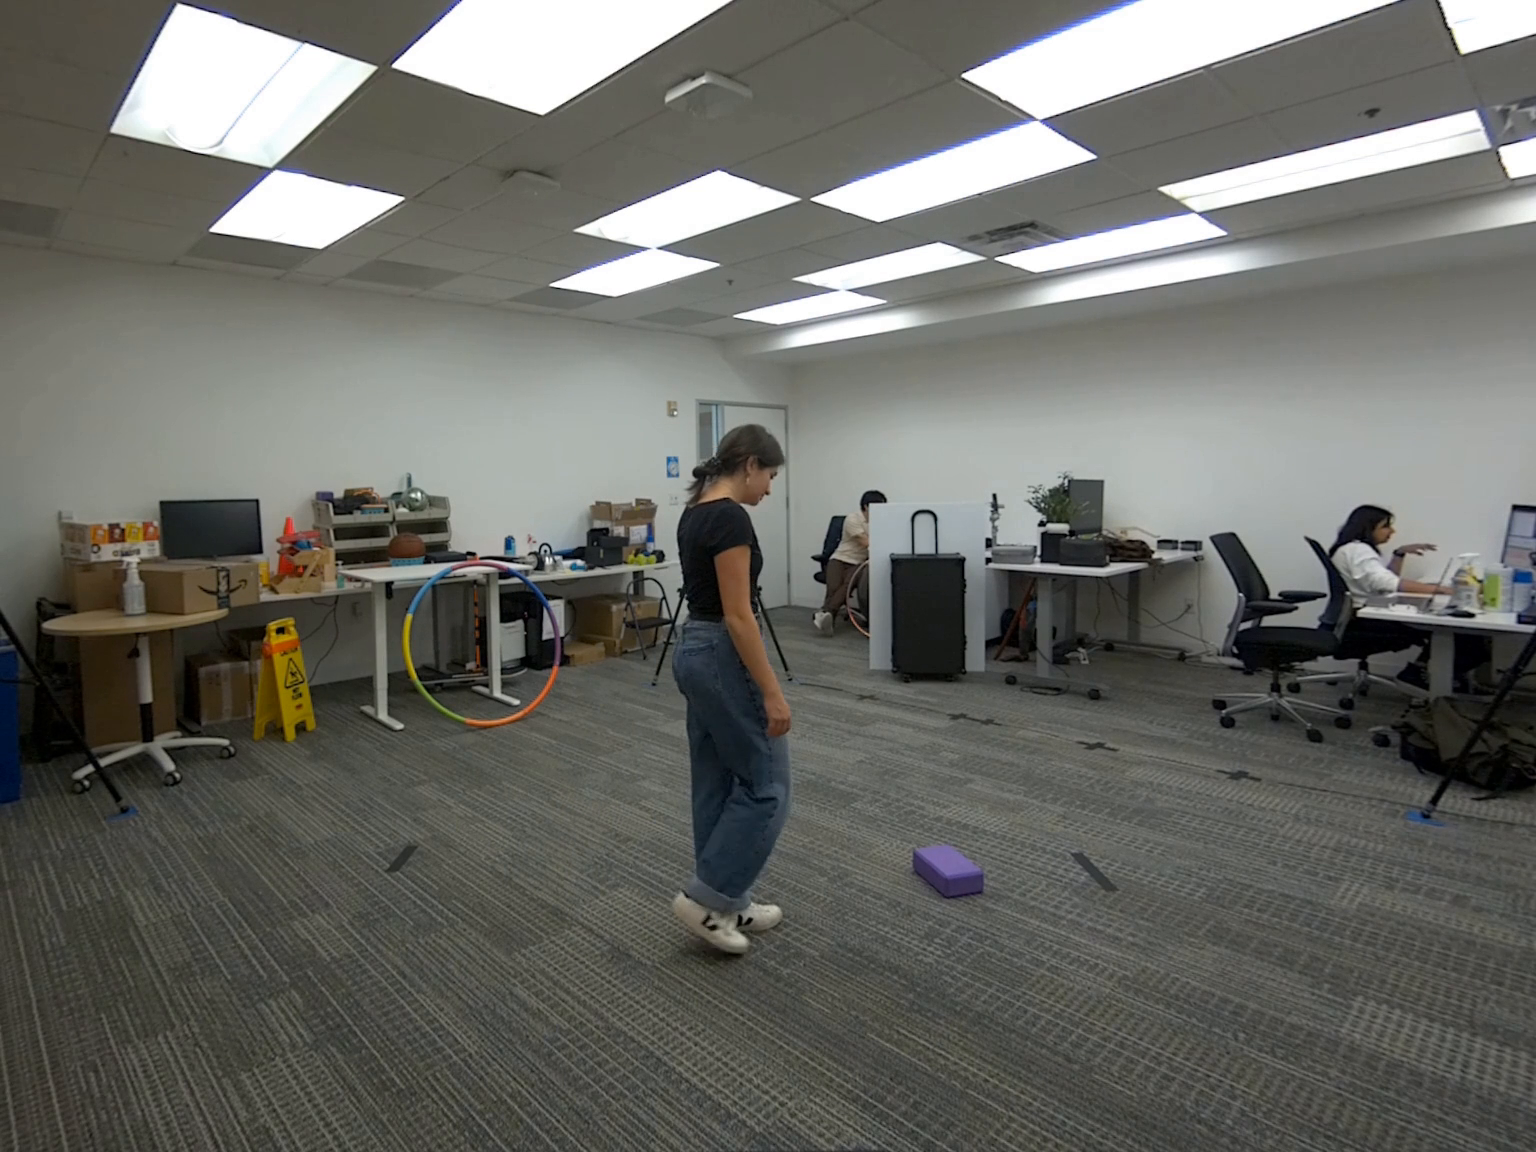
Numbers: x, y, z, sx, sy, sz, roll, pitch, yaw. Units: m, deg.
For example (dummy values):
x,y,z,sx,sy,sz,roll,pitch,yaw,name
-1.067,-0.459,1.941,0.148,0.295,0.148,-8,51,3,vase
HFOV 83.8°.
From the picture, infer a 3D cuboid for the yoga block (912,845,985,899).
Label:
x,y,z,sx,sy,sz,roll,pitch,yaw,name
0.622,1.014,2.947,0.147,0.076,0.234,-3,6,-18,yoga block
